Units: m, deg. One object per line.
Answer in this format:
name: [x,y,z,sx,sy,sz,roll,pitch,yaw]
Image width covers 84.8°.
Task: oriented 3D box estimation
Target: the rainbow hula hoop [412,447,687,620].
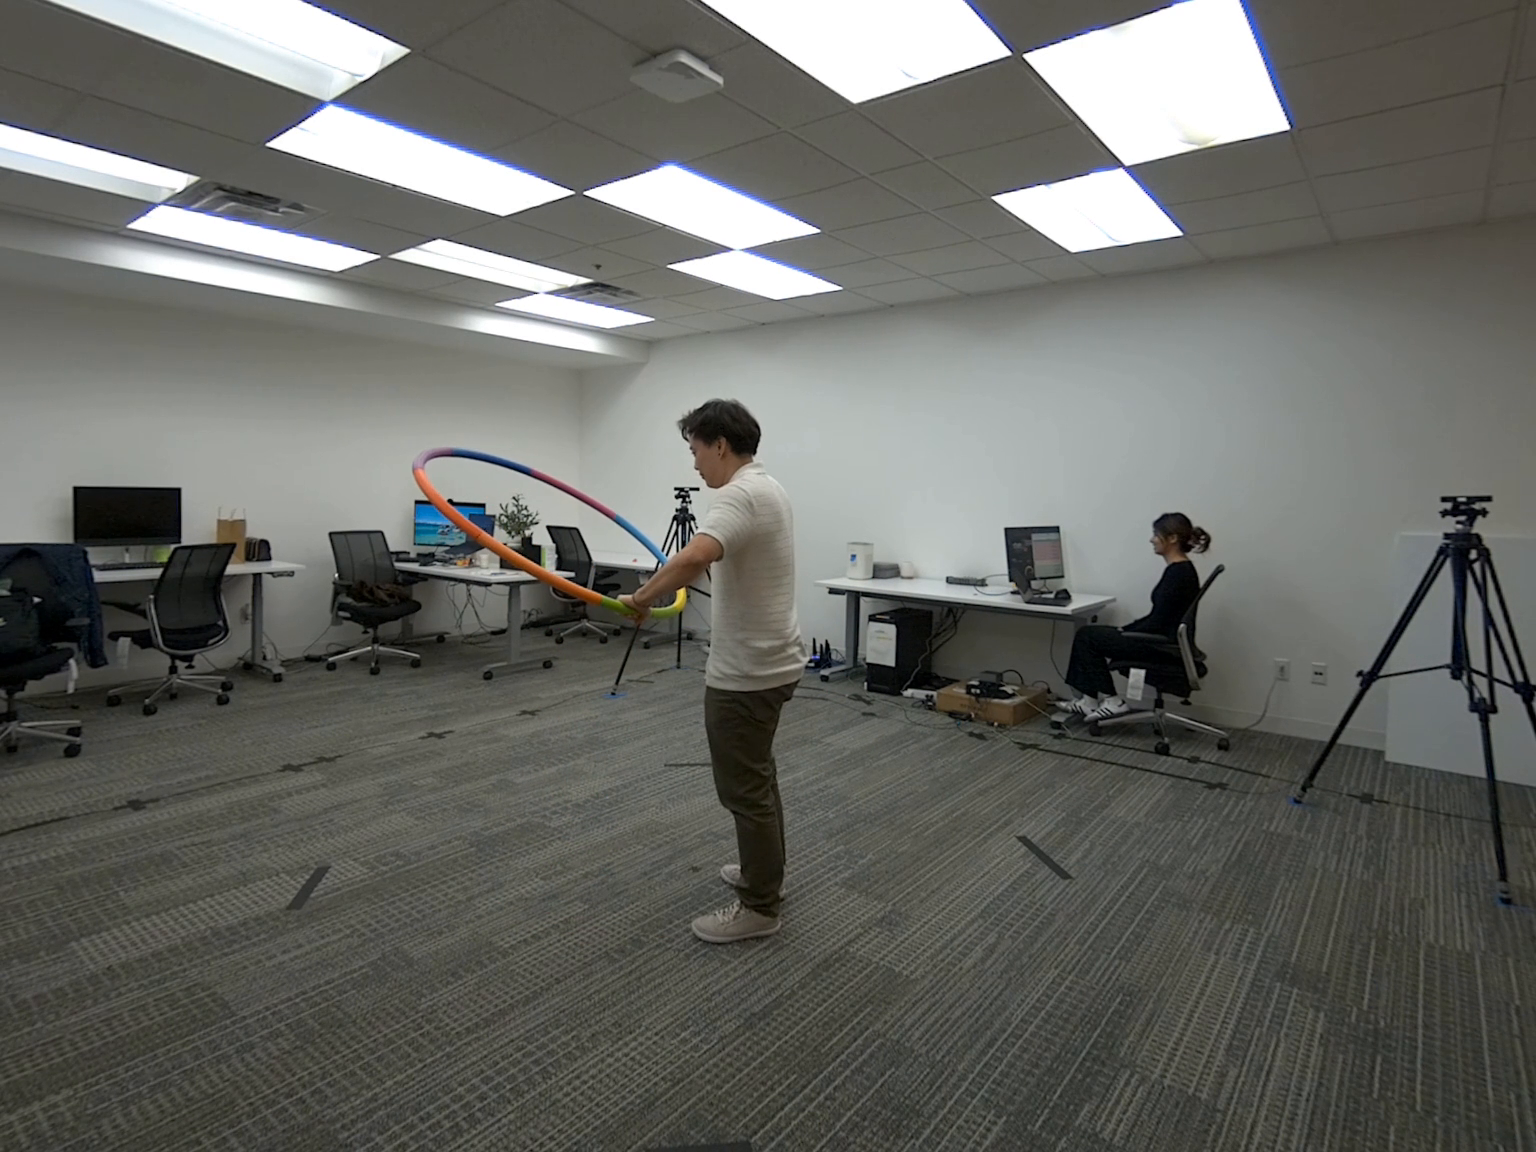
rainbow hula hoop: [-0.688,-0.162,2.794,0.966,0.035,0.995,30,14,-10]
